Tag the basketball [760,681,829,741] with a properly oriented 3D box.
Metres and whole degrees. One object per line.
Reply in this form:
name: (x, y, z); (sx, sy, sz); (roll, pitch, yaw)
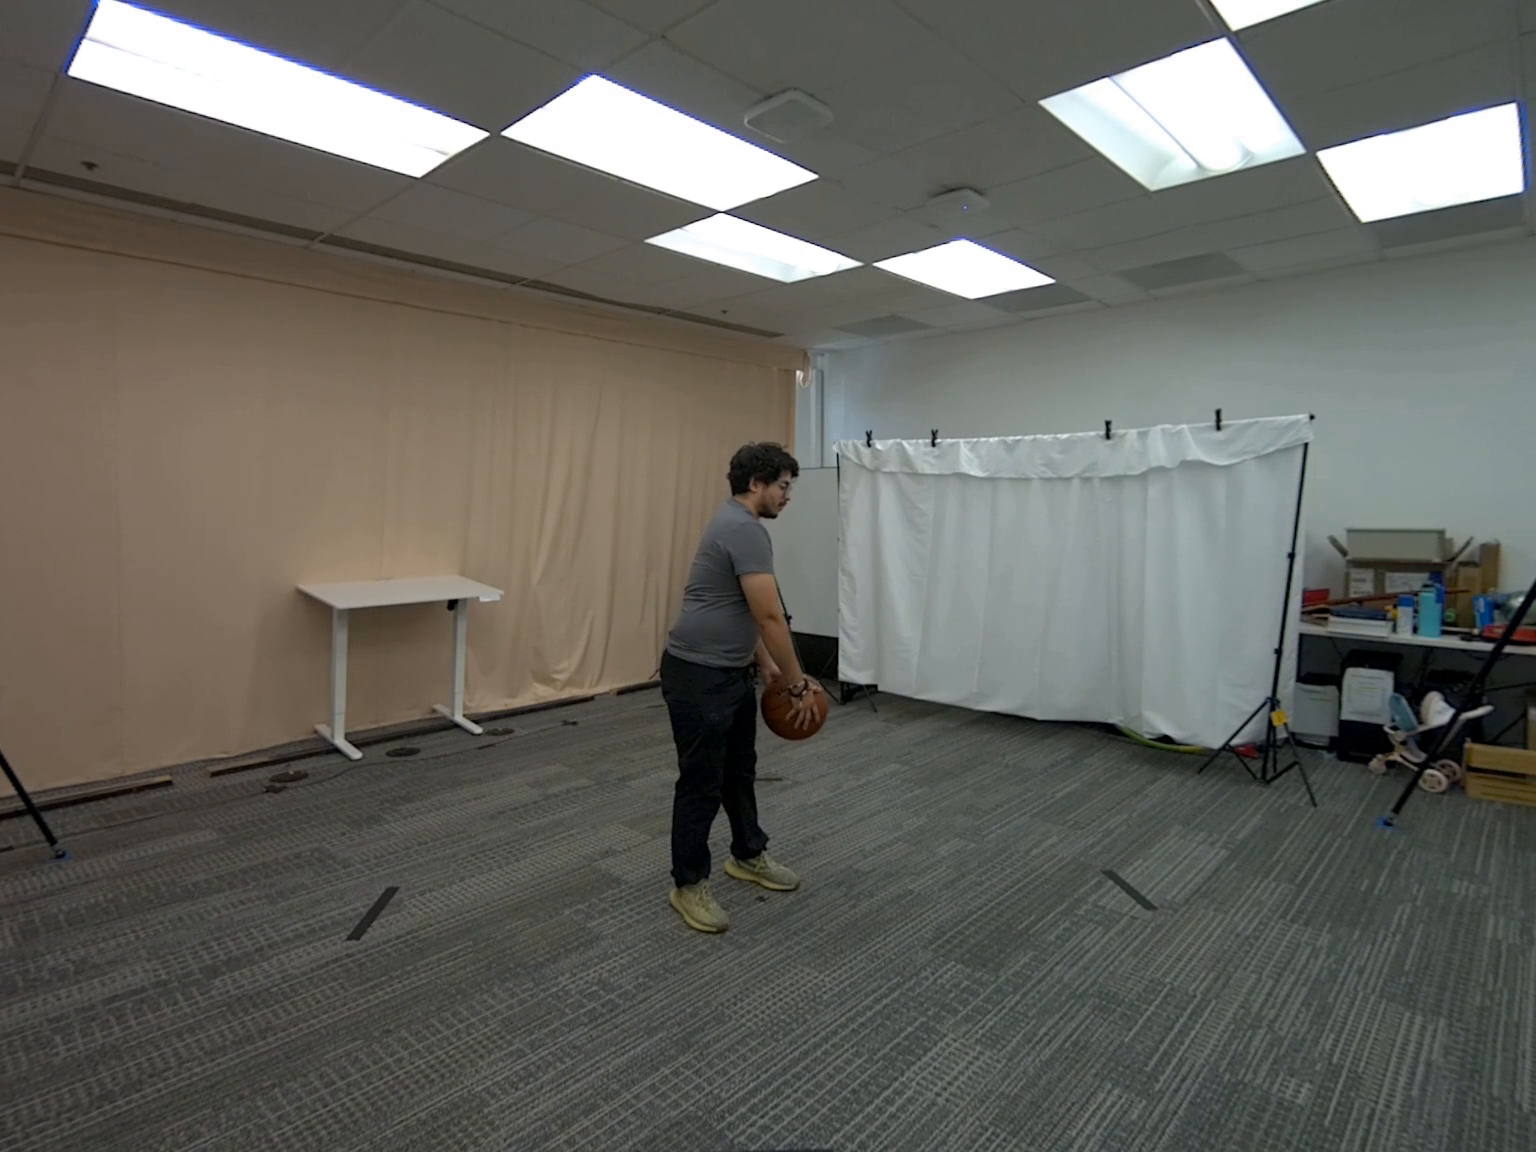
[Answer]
basketball: (0.096, 0.462, 2.976); (0.236, 0.235, 0.237); (0, 4, -2)
